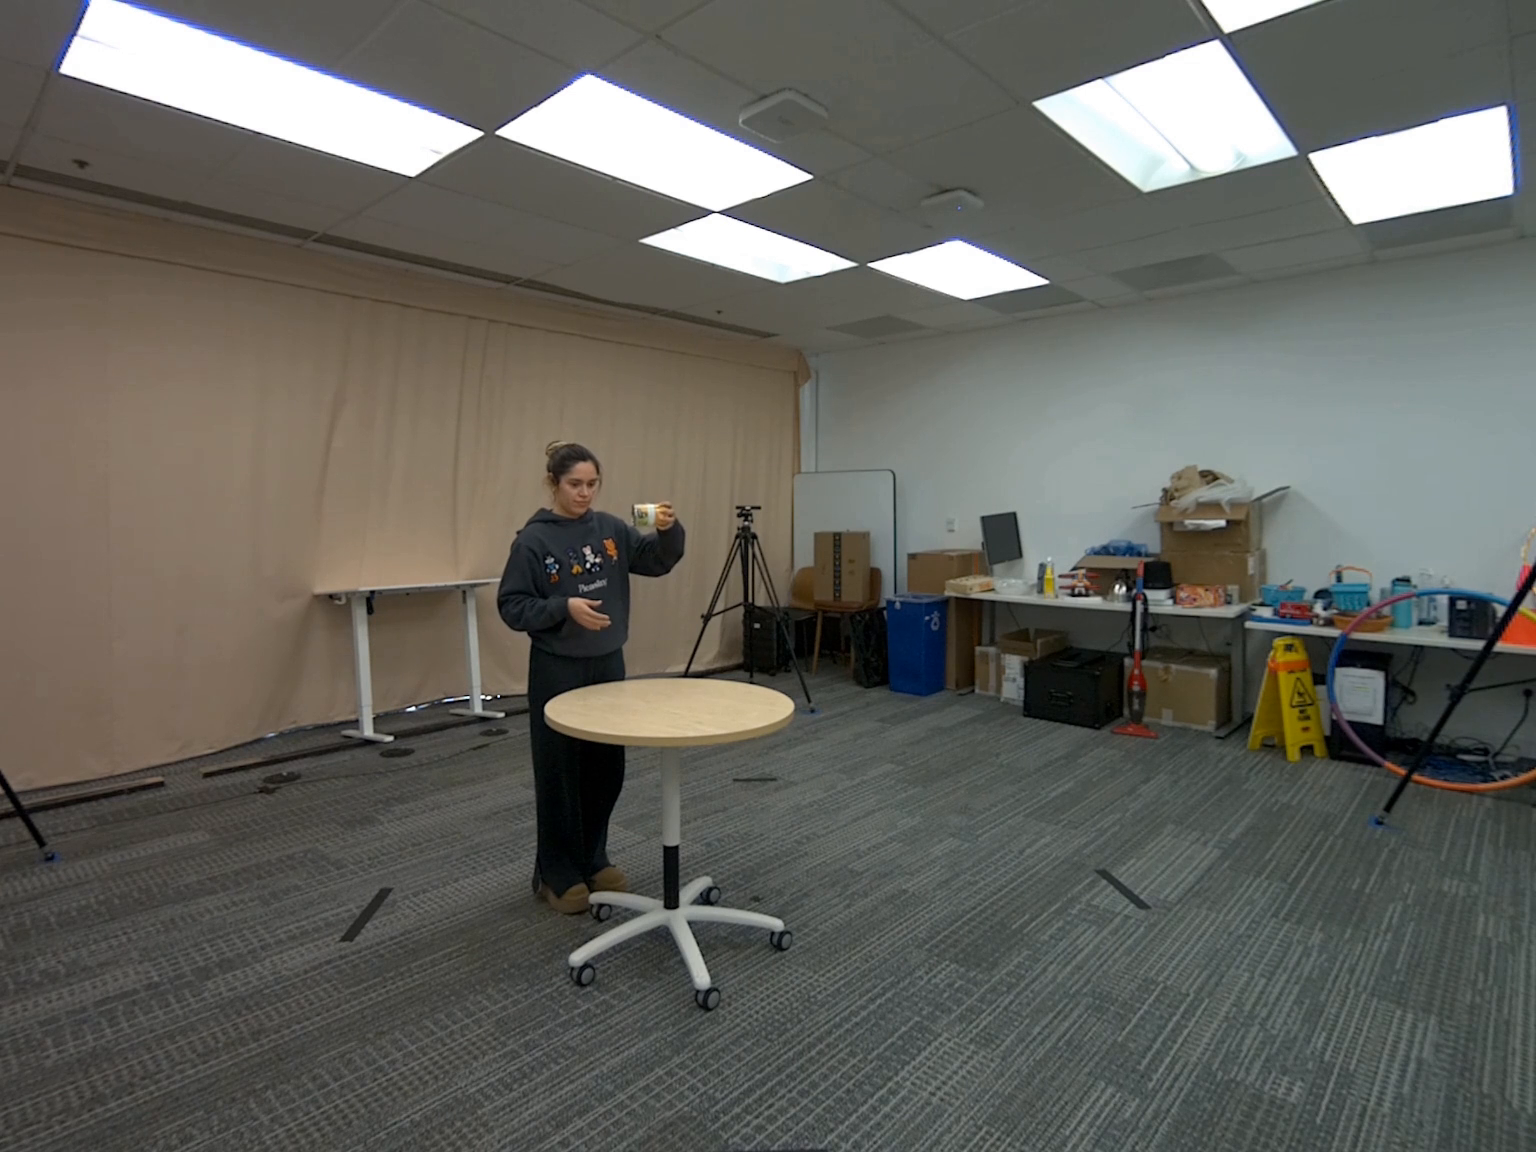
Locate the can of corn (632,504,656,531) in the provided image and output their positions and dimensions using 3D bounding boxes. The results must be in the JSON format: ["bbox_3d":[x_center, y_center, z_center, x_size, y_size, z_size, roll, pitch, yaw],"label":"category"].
[{"bbox_3d":[-0.391,-0.197,2.855,0.110,0.074,0.075,0,4,-5],"label":"can of corn"}]
